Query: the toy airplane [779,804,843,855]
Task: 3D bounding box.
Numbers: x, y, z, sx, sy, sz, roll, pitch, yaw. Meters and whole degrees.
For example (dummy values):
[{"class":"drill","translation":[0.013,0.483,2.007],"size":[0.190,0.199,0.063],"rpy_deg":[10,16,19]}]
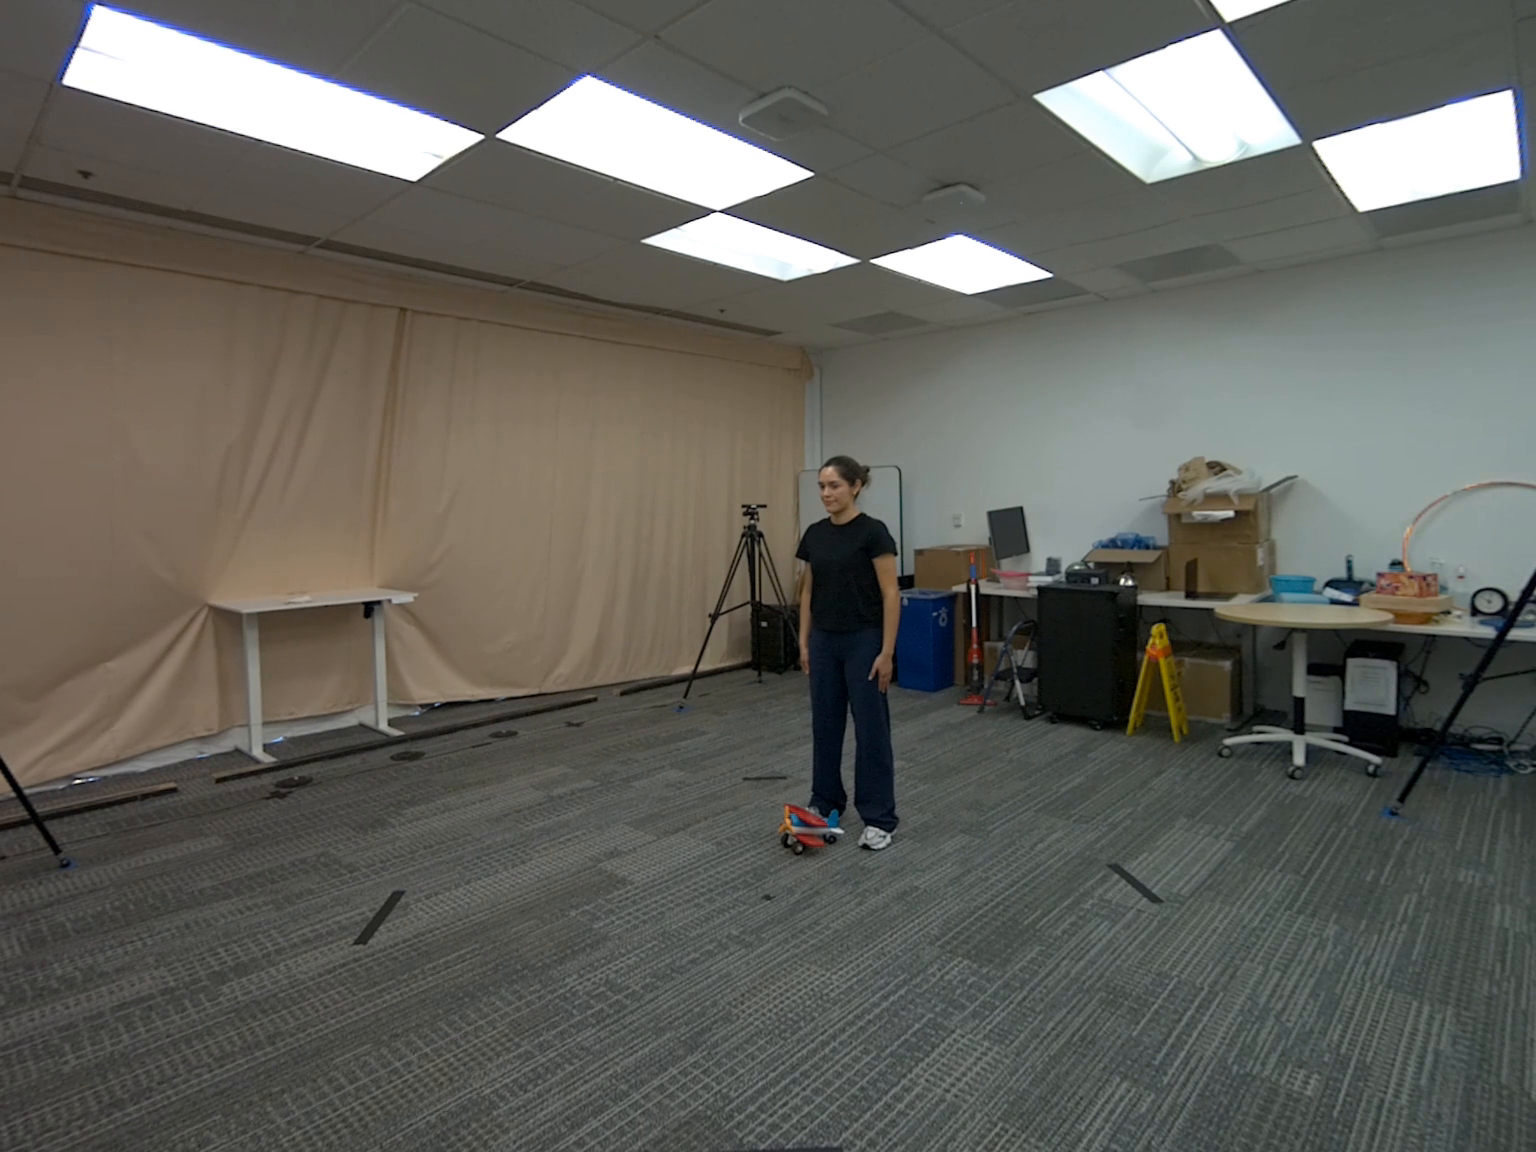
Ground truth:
[{"class":"toy airplane","translation":[0.177,1.026,3.433],"size":[0.259,0.156,0.252],"rpy_deg":[3,7,33]}]
